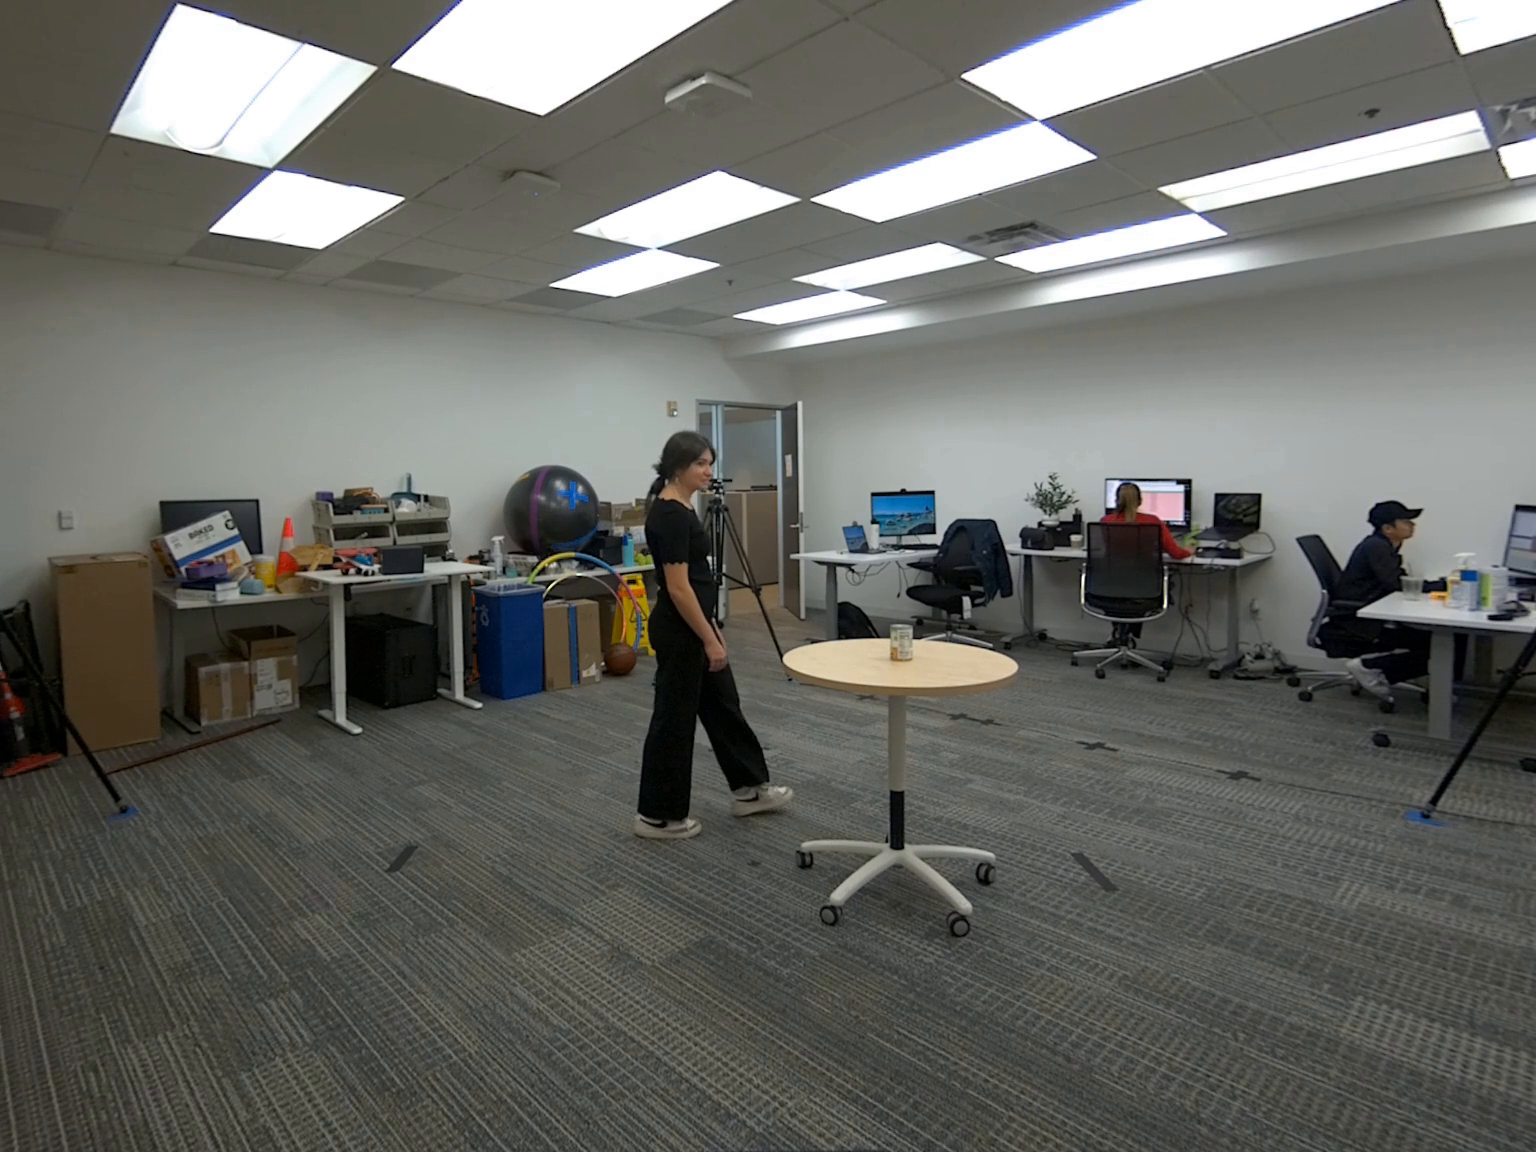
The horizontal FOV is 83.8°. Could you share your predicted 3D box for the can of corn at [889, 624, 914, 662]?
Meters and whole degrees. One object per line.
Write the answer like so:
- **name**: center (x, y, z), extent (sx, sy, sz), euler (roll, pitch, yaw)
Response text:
- **can of corn**: center (0.453, 0.225, 2.861), extent (0.074, 0.110, 0.075), euler (-1, 6, -2)
